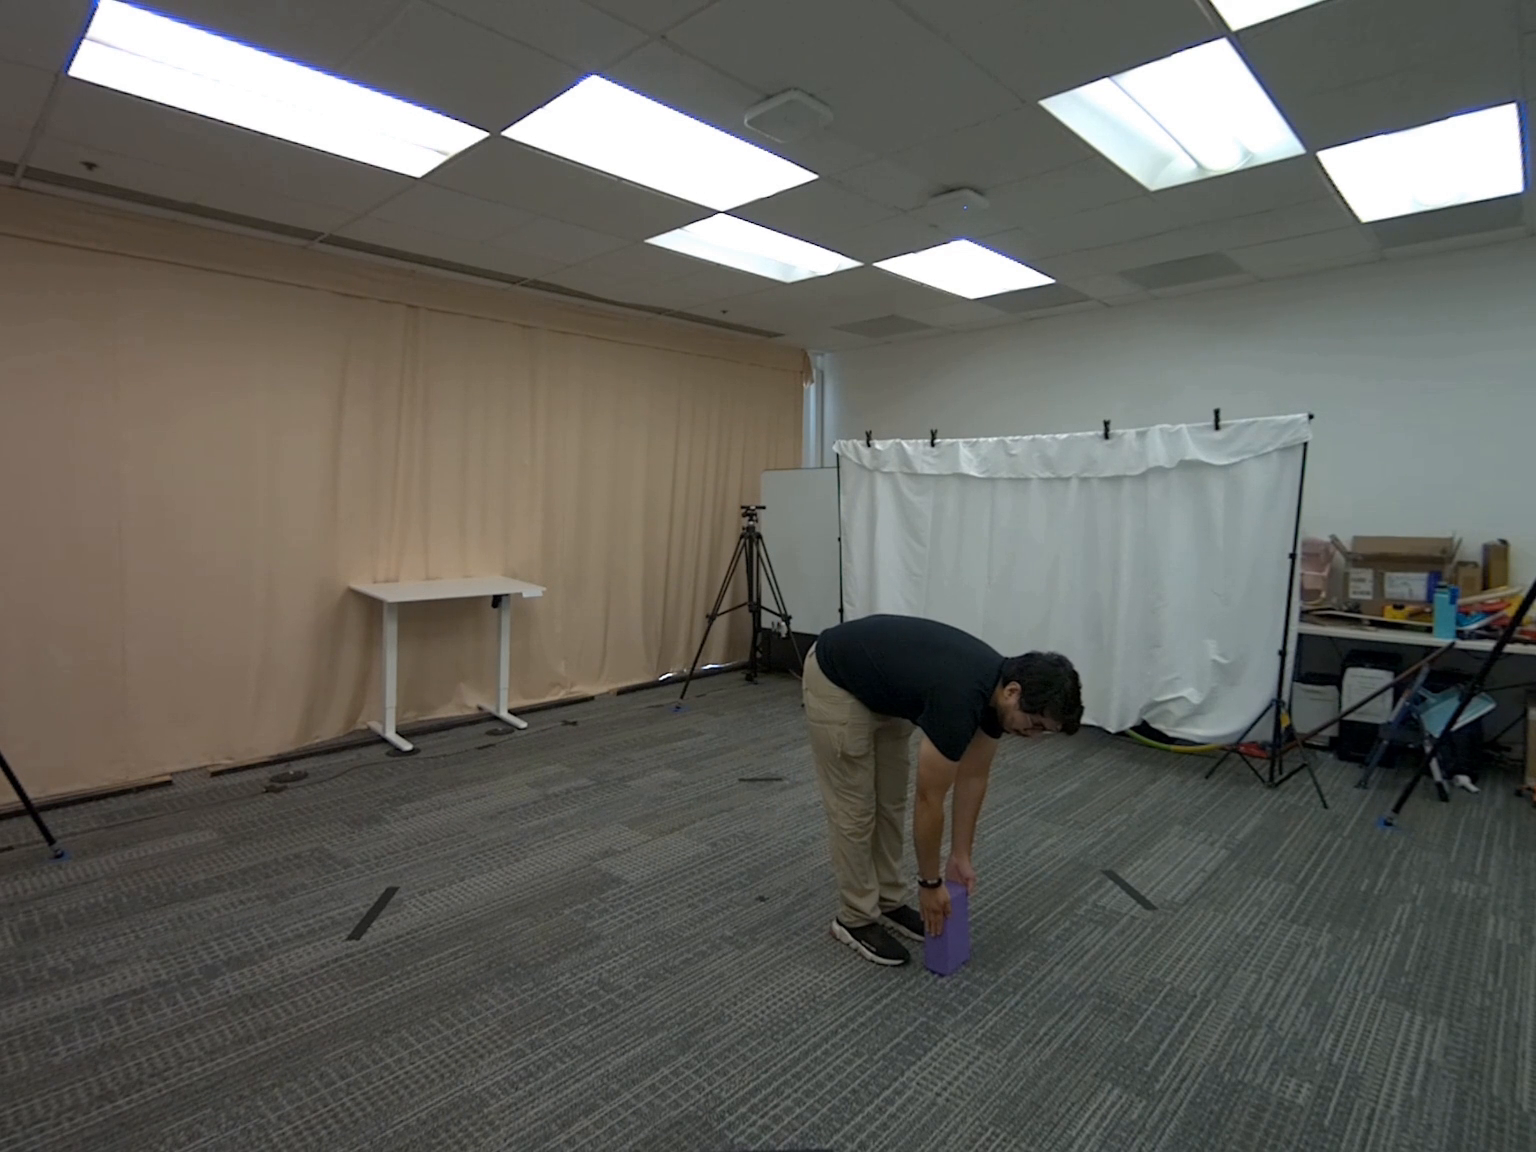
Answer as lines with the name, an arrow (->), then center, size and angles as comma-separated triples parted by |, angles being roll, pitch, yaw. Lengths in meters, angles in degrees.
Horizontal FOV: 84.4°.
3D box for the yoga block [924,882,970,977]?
yoga block -> 0.548, 1.066, 2.547 | 0.079, 0.229, 0.144 | 4, 5, 43
